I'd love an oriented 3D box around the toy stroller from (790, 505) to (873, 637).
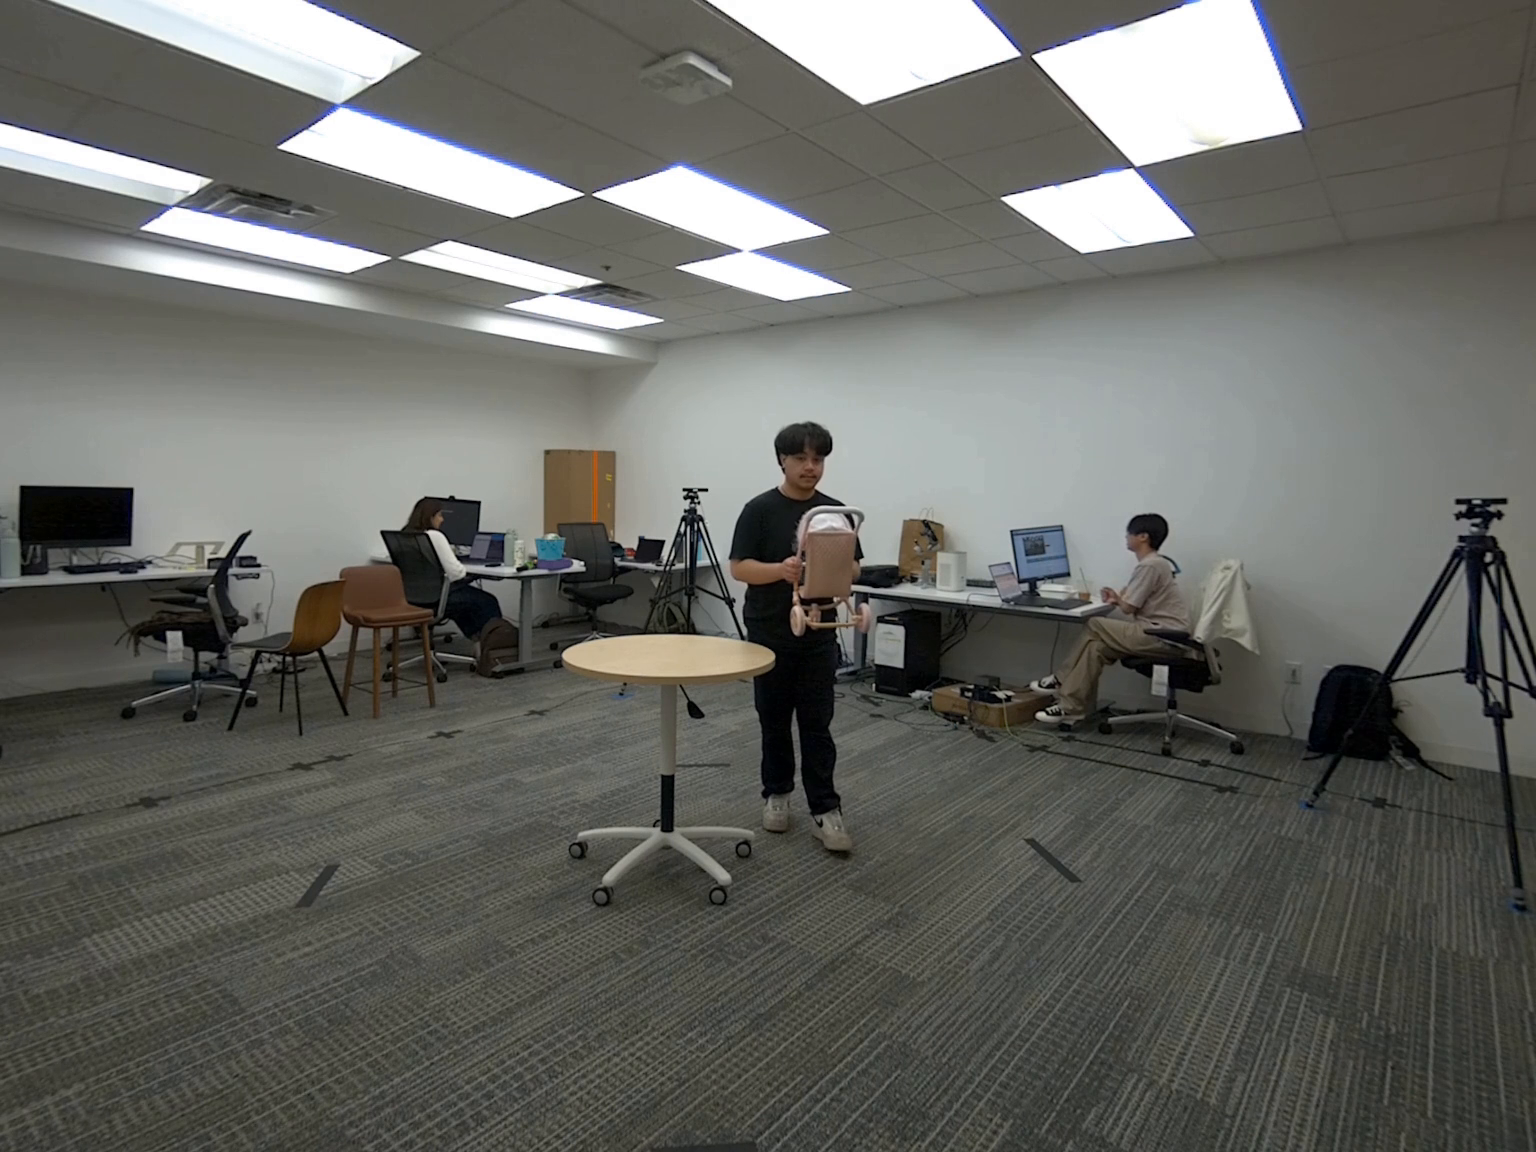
[{"bbox_3d":[0.204,-0.023,3.161,0.279,0.529,0.347,-1,12,-7],"label":"toy stroller"}]
